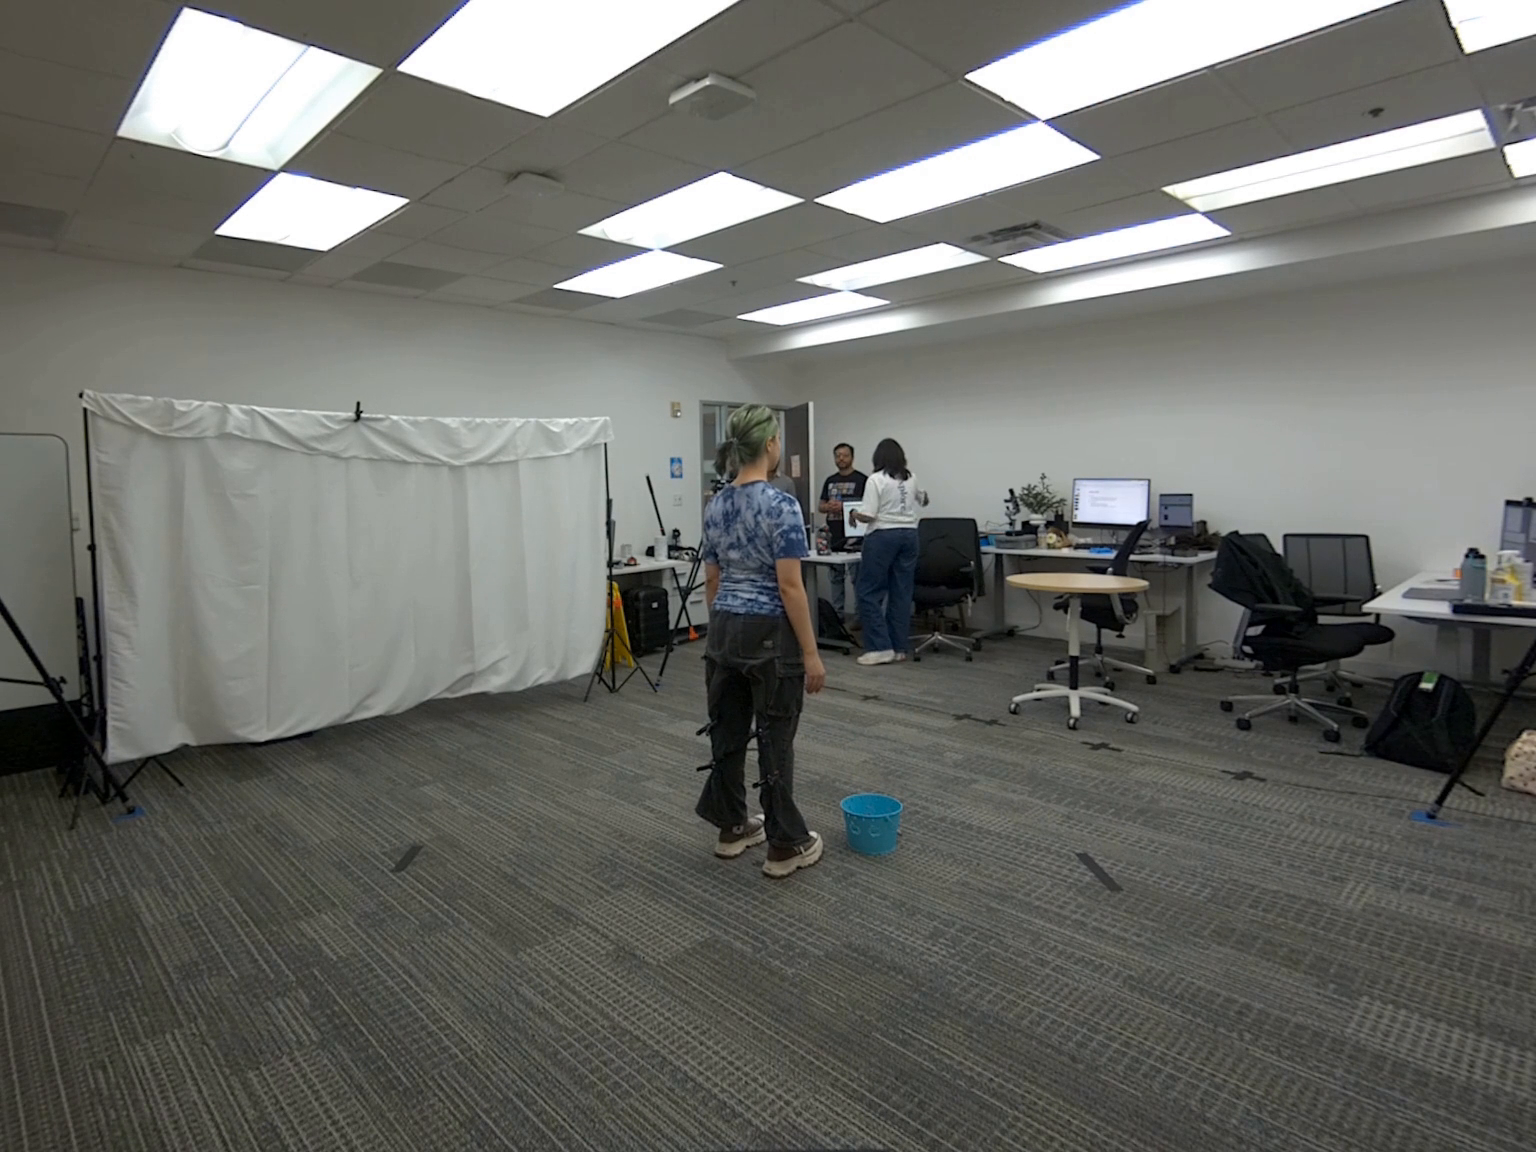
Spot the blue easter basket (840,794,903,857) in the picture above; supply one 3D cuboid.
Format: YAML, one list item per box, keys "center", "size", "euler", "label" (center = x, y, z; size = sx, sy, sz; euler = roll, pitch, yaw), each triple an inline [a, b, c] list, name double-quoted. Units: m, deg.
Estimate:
- center: [0.403, 0.943, 3.252]
  size: [0.243, 0.155, 0.245]
  euler: [-1, 6, -2]
  label: "blue easter basket"
